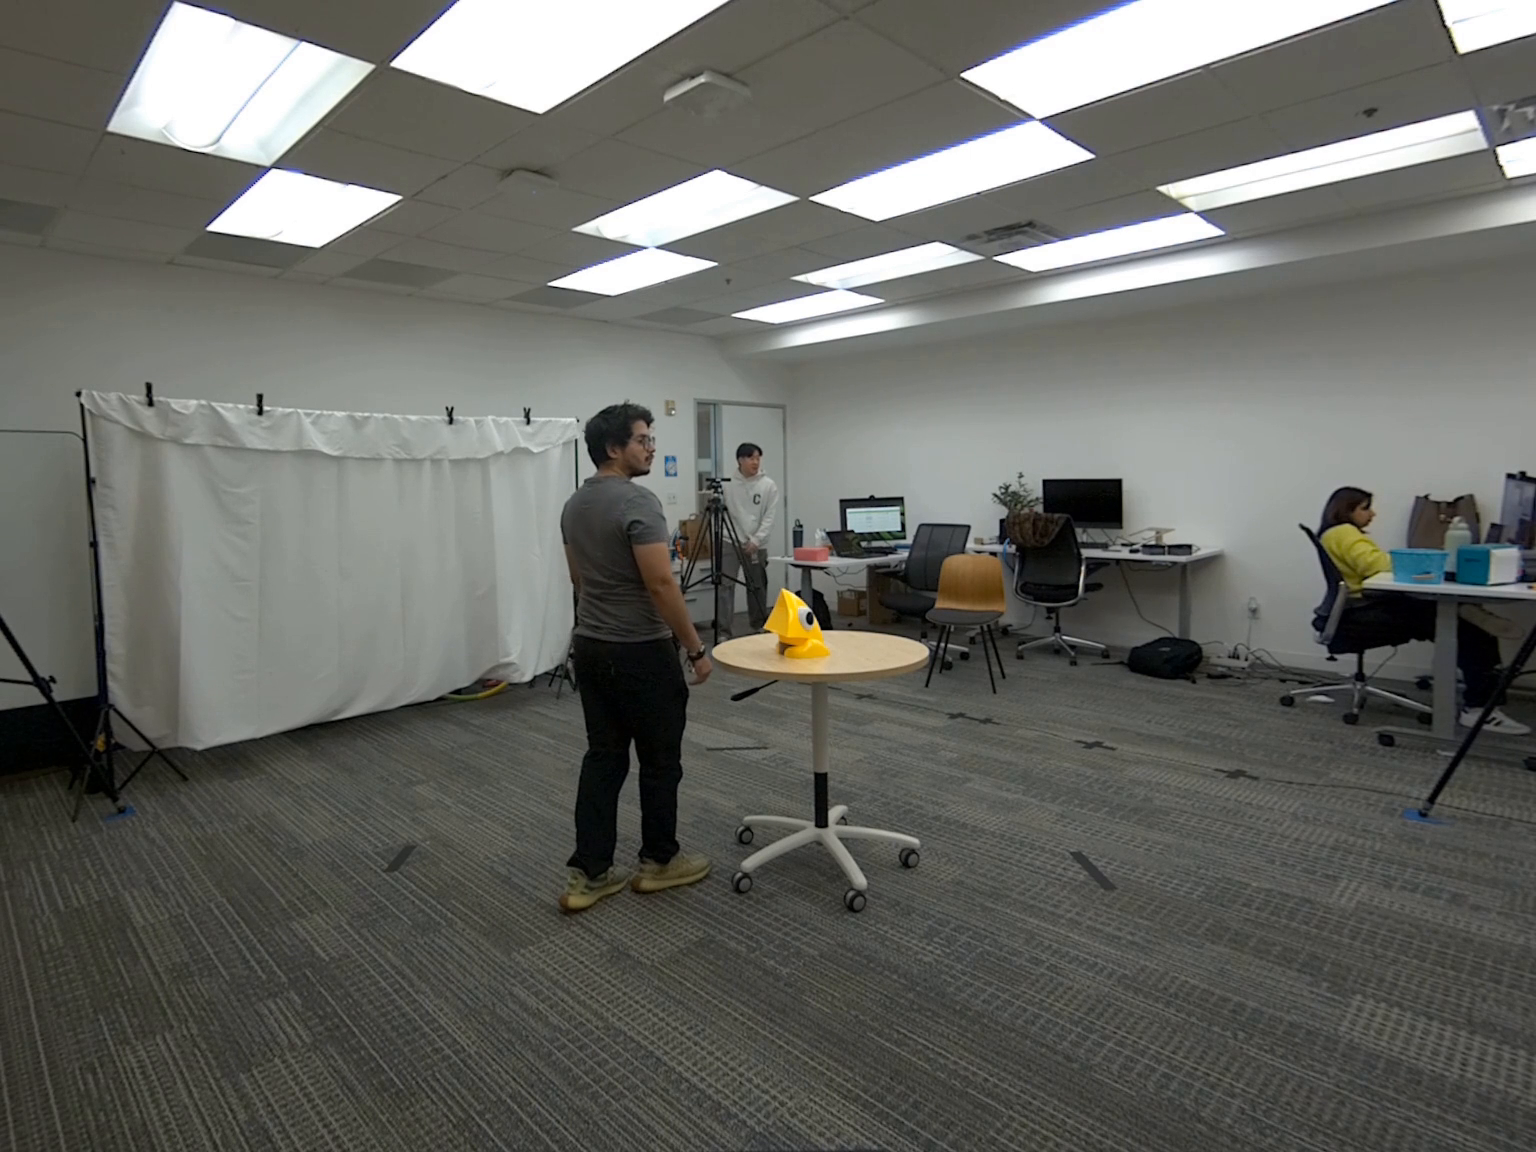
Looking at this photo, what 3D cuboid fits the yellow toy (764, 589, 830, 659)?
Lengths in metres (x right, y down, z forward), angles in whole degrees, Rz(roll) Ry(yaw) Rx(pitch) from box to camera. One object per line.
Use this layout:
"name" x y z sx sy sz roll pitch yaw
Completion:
"yellow toy" 0.105 0.155 2.986 0.189 0.230 0.209 -3 5 -22
